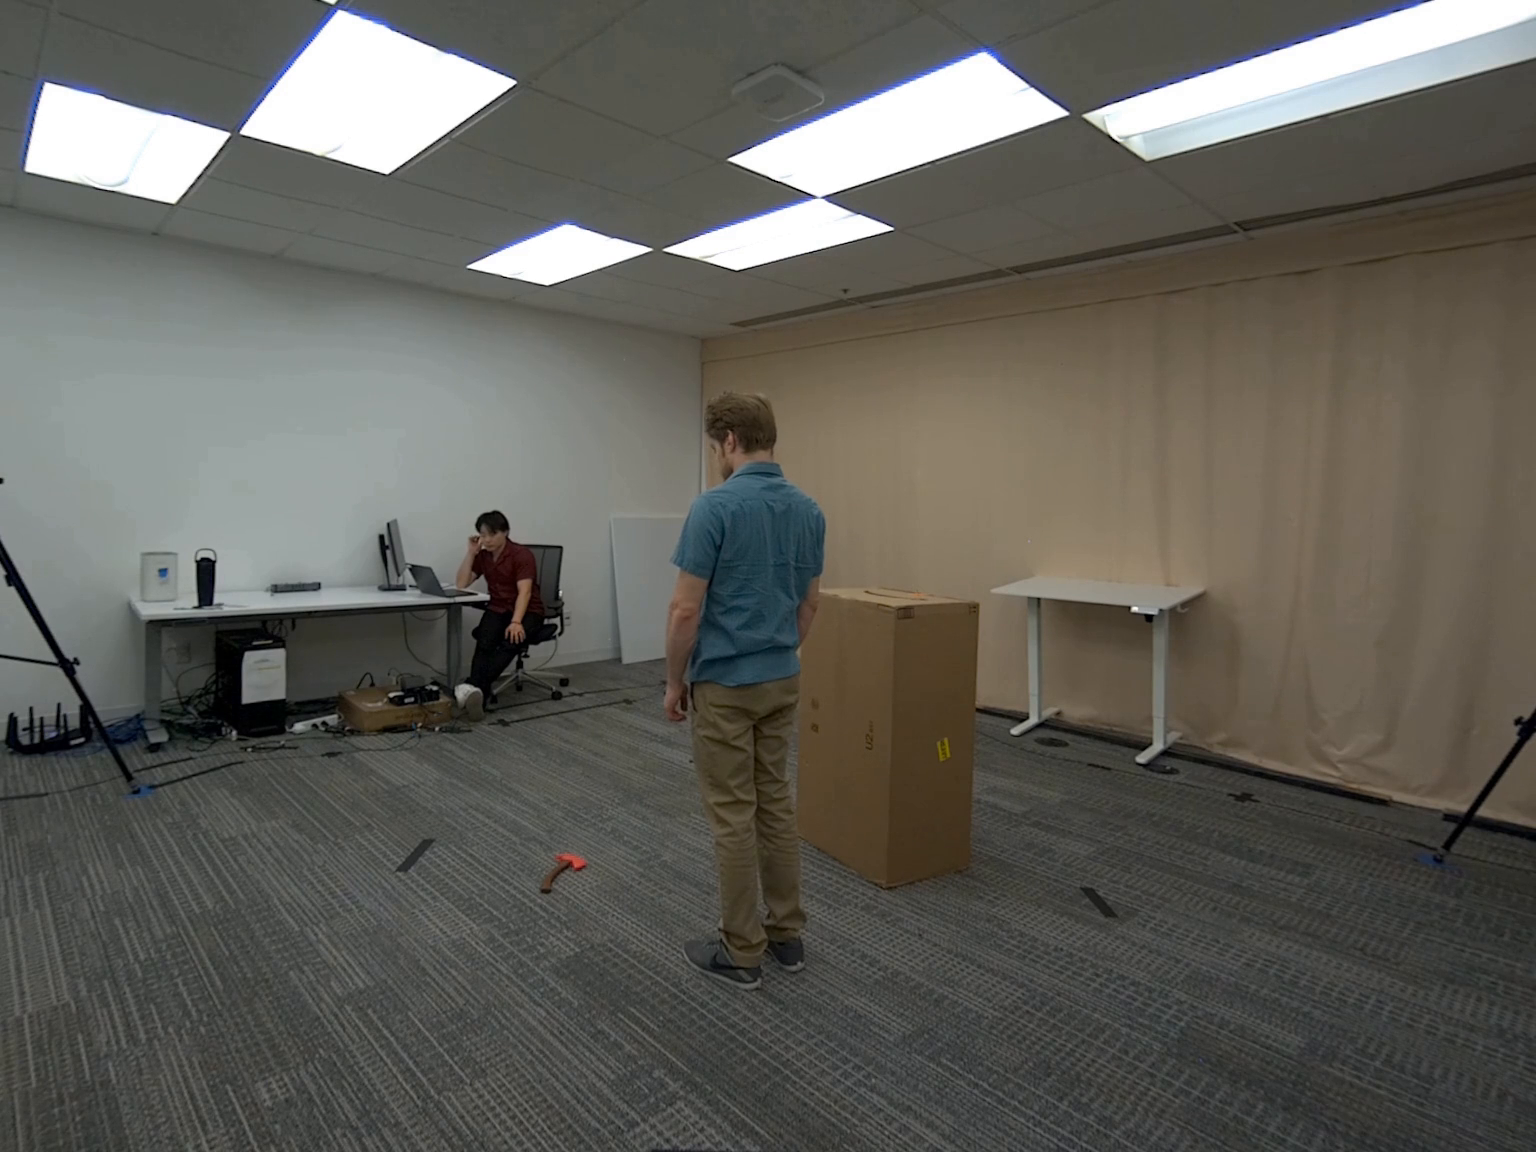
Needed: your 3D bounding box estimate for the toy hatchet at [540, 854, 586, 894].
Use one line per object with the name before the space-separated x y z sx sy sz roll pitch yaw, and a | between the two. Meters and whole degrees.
toy hatchet | -0.749 1.086 3.056 0.131 0.029 0.272 5 7 -4
